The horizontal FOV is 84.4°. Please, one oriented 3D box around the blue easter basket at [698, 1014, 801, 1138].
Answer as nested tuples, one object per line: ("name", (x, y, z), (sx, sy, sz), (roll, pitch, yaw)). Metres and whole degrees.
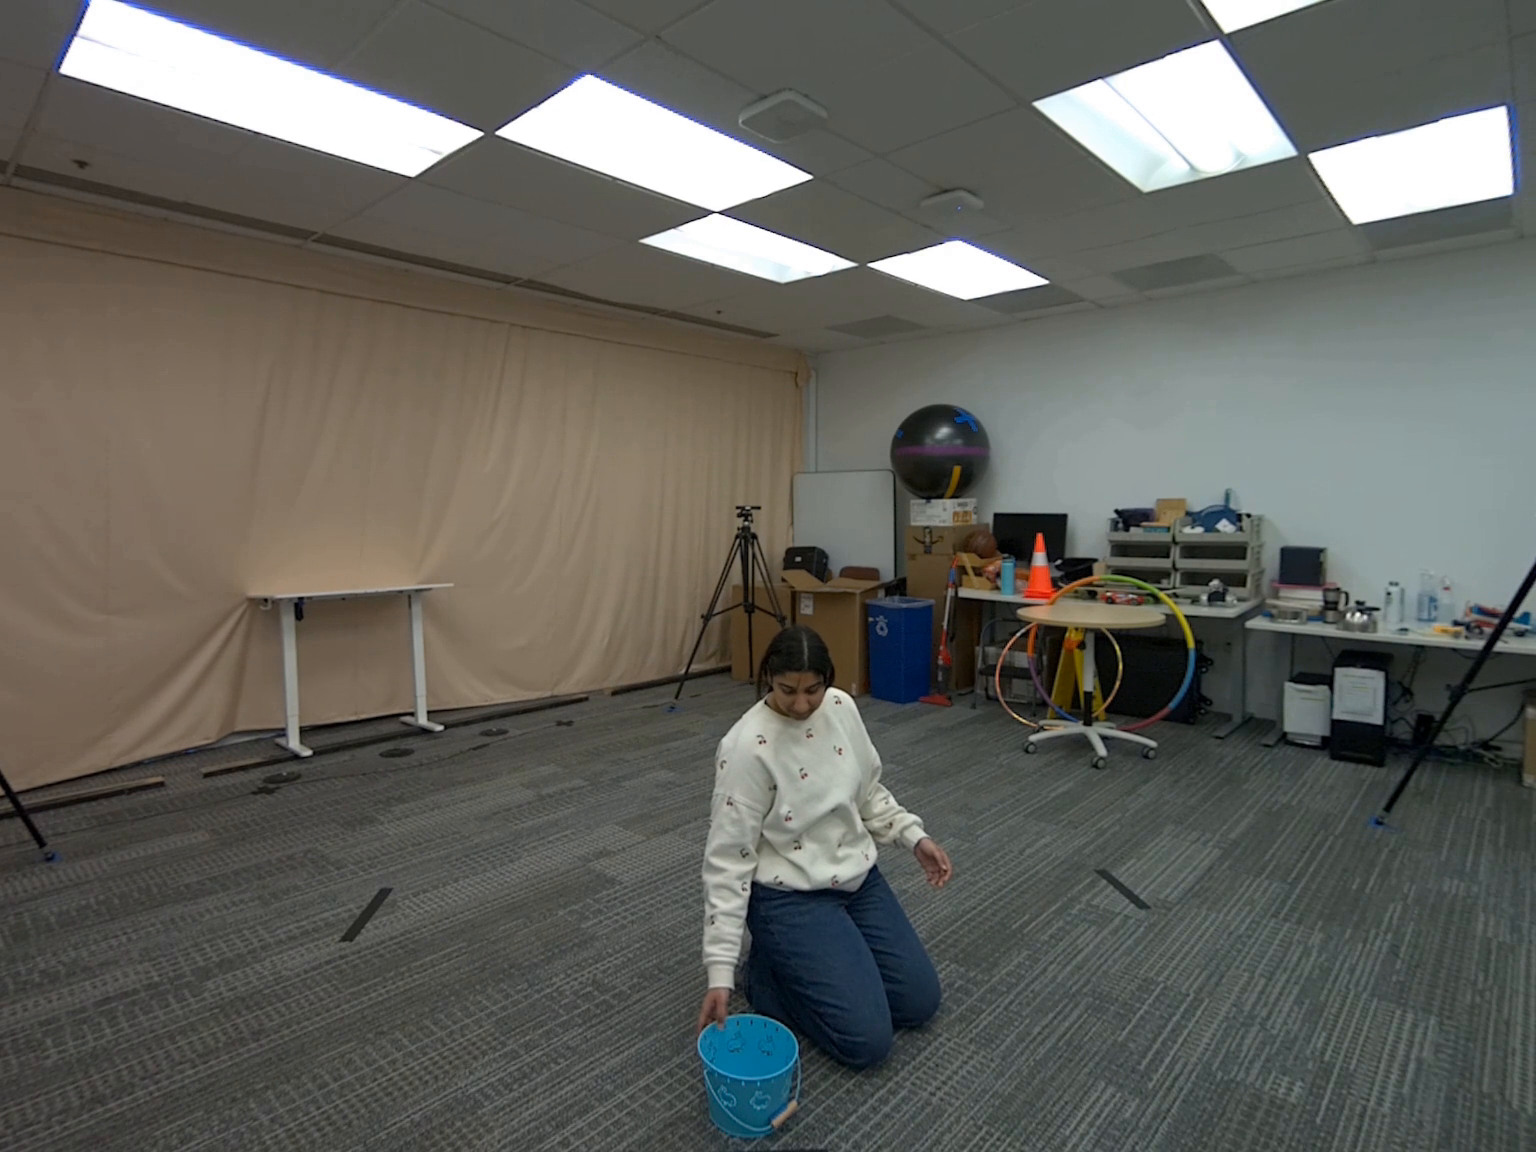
("blue easter basket", (-0.051, 1.152, 1.938), (0.243, 0.155, 0.244), (0, 3, -2))
